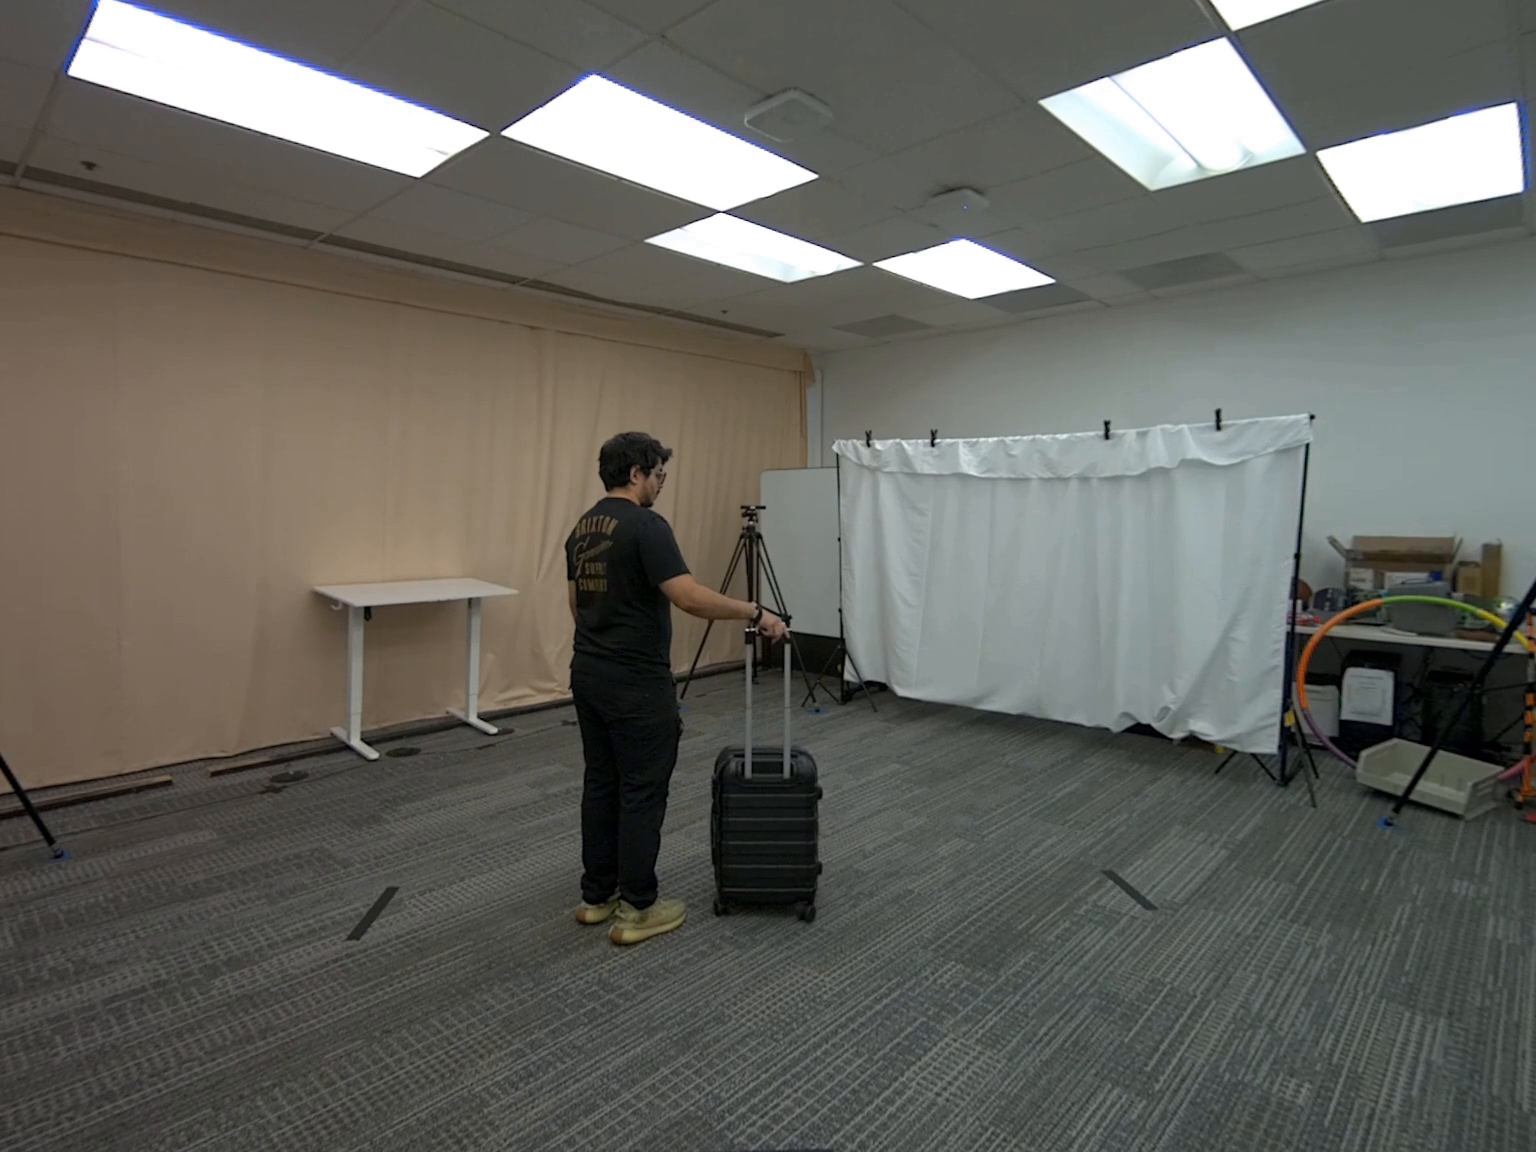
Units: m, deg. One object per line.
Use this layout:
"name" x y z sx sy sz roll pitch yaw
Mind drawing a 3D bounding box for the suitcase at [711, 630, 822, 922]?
"suitcase" -0.003 0.674 2.921 0.384 0.977 0.258 1 2 -1
